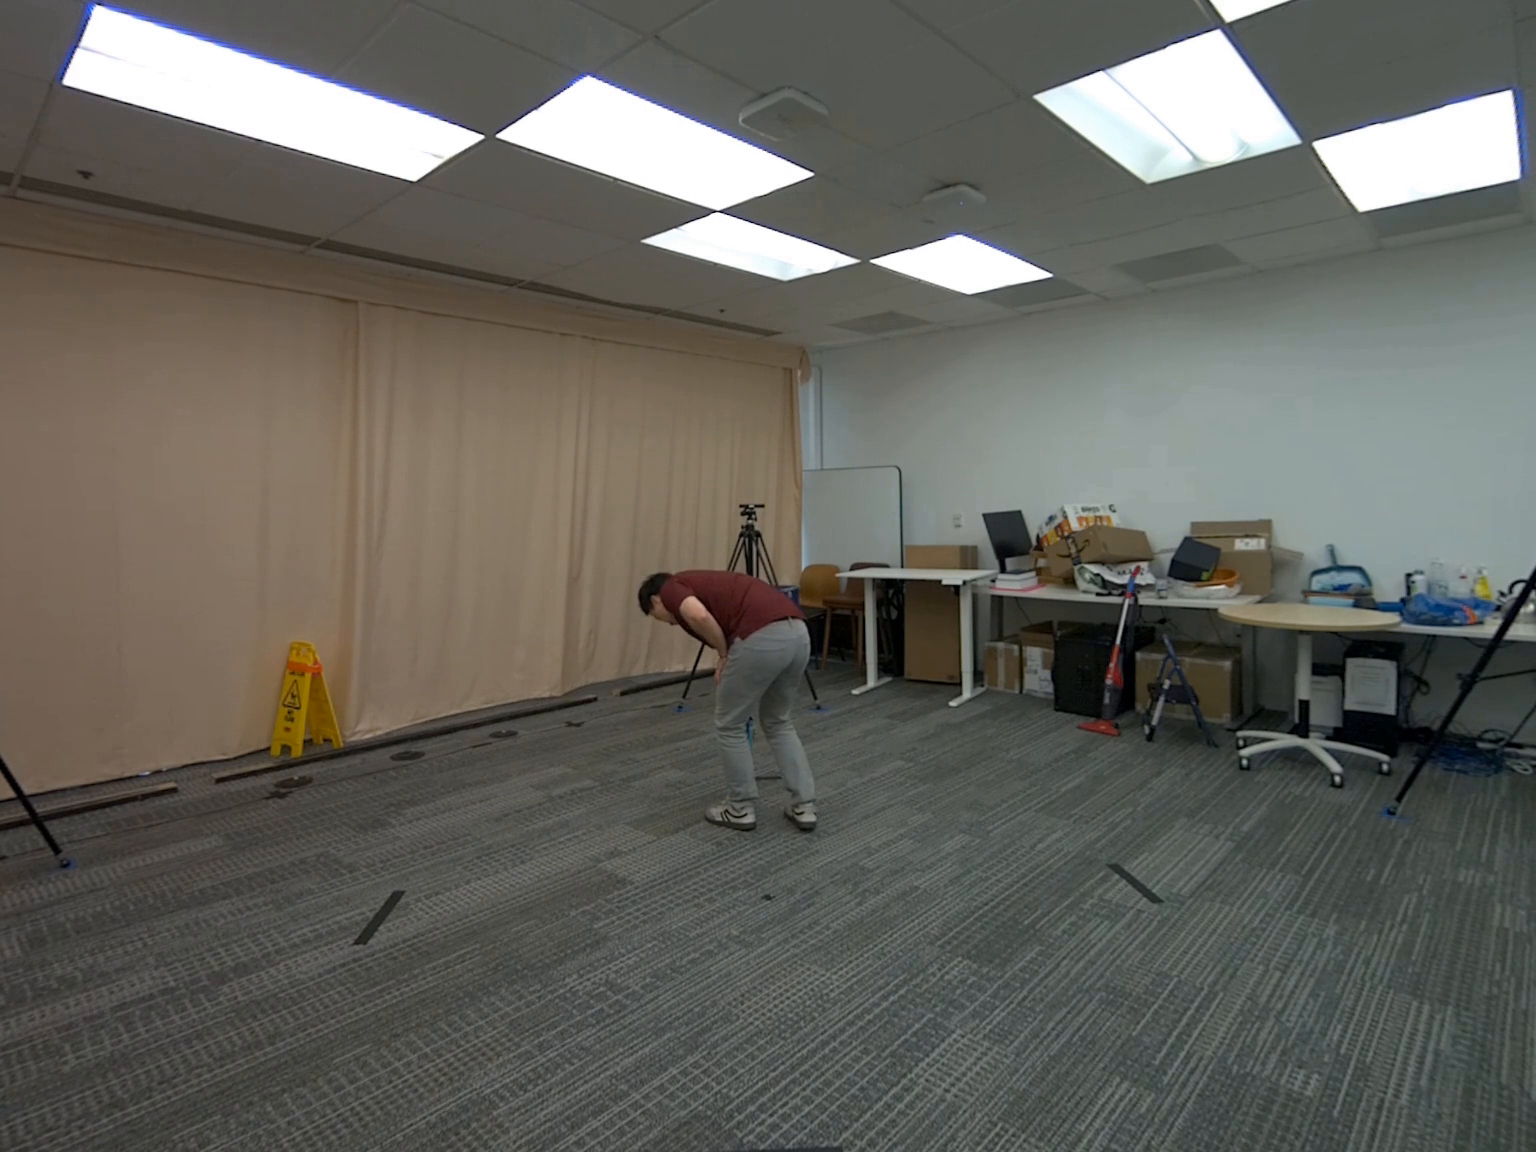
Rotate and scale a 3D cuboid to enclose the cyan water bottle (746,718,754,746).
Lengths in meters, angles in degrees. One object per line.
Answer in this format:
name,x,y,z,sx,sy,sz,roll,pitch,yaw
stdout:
cyan water bottle,-0.121,0.780,3.916,0.092,0.283,0.092,5,2,-2
